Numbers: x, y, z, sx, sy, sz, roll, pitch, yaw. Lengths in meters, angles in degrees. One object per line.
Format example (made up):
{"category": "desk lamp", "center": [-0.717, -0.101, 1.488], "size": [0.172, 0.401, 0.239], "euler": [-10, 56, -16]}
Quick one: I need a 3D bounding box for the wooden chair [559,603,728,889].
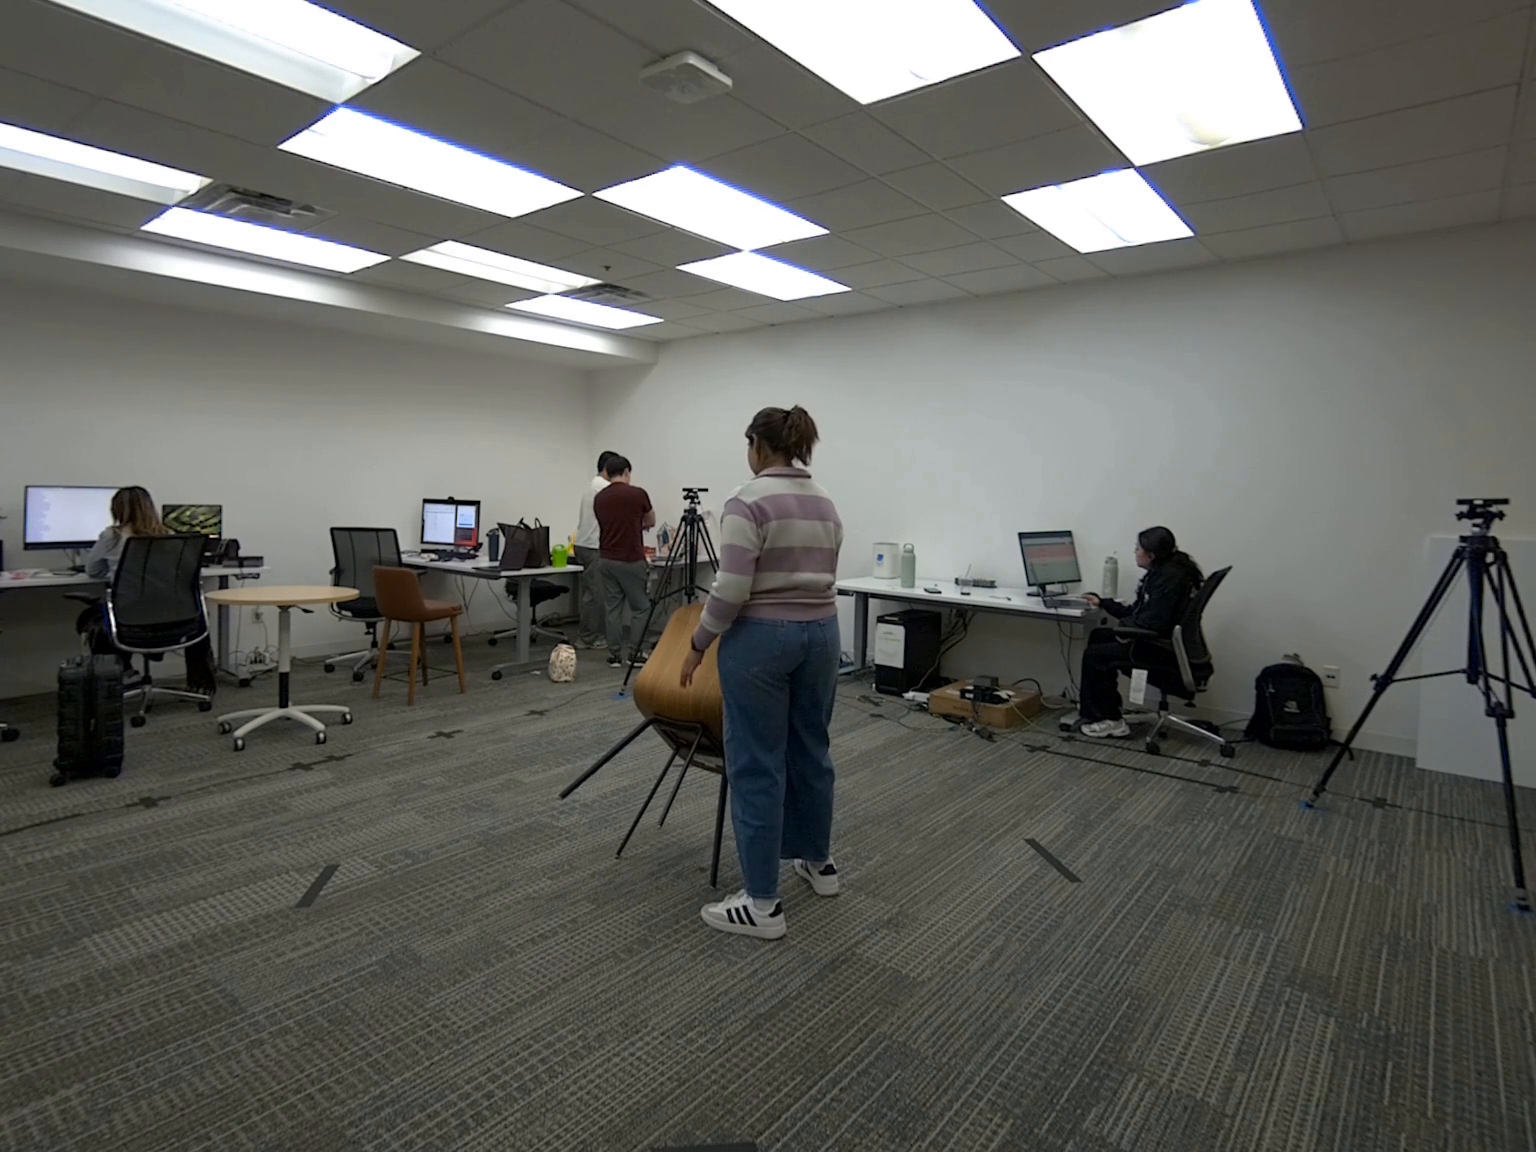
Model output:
{"category": "wooden chair", "center": [-0.304, 0.605, 3.174], "size": [0.492, 0.887, 0.502], "euler": [2, -37, 32]}
